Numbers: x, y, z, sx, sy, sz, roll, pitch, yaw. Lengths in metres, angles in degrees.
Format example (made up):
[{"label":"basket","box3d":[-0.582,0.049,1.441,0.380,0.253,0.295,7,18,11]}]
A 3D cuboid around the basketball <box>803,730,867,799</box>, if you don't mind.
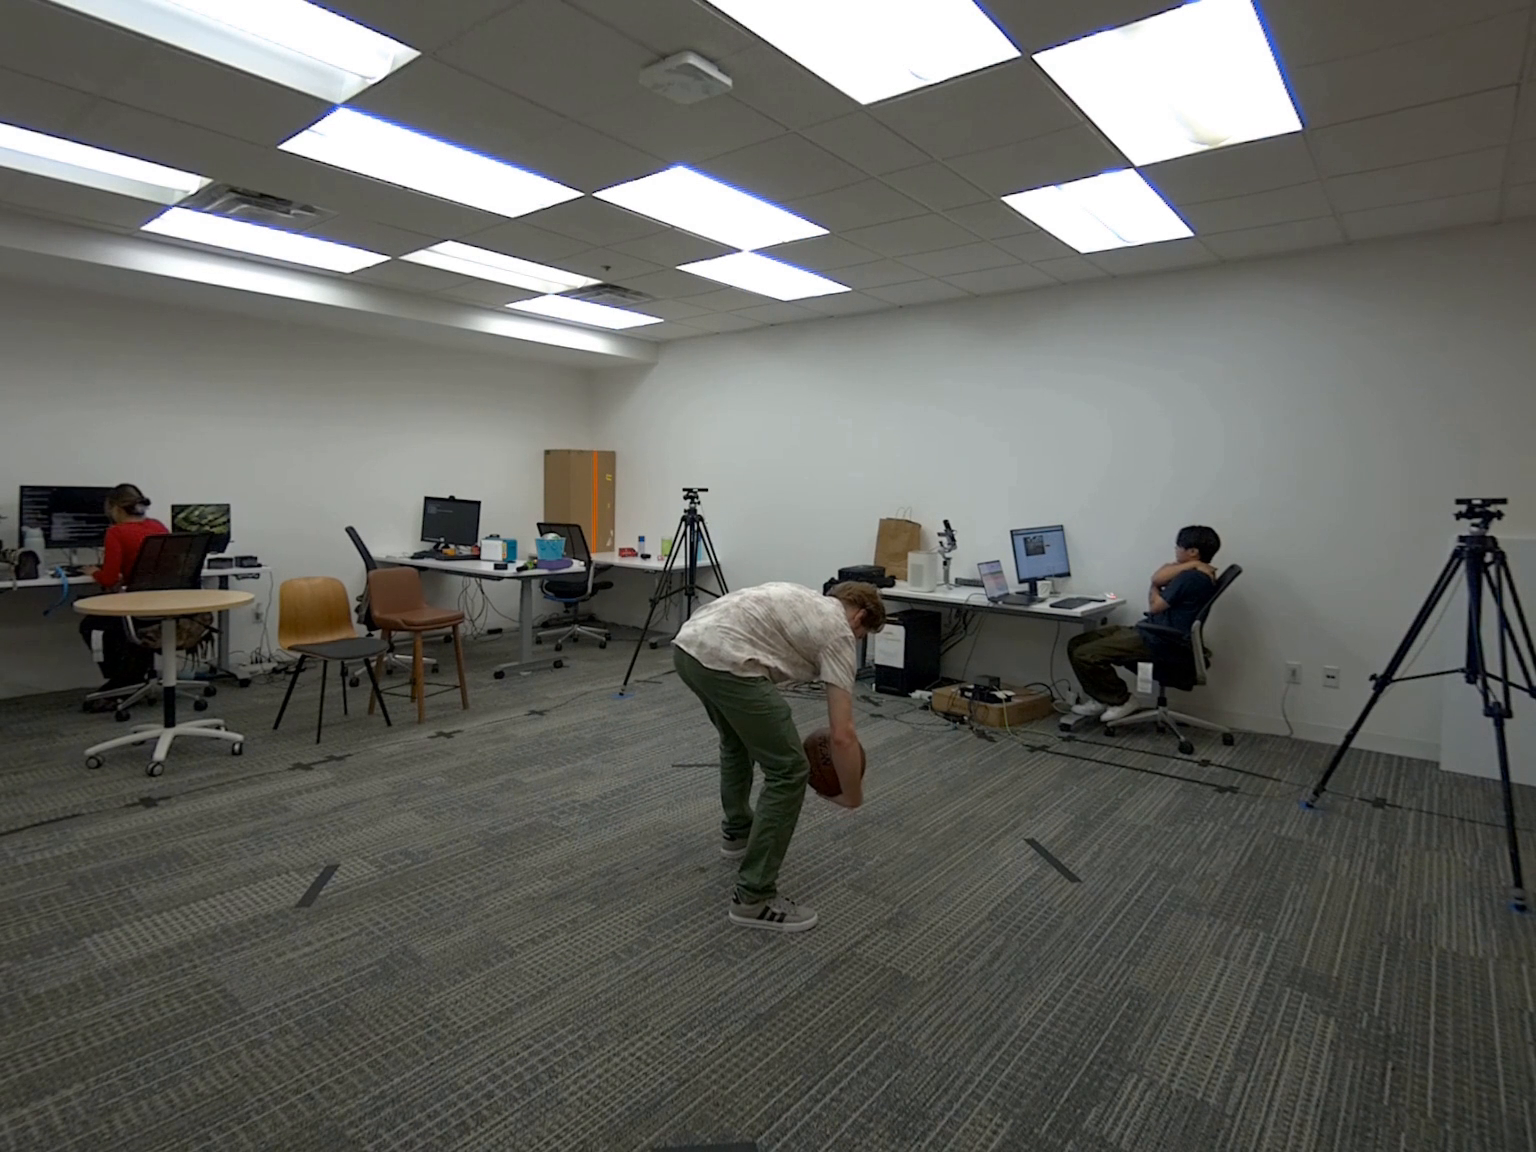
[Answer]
[{"label":"basketball","box3d":[0.232,0.662,3.044,0.235,0.235,0.237,1,4,-2]}]
